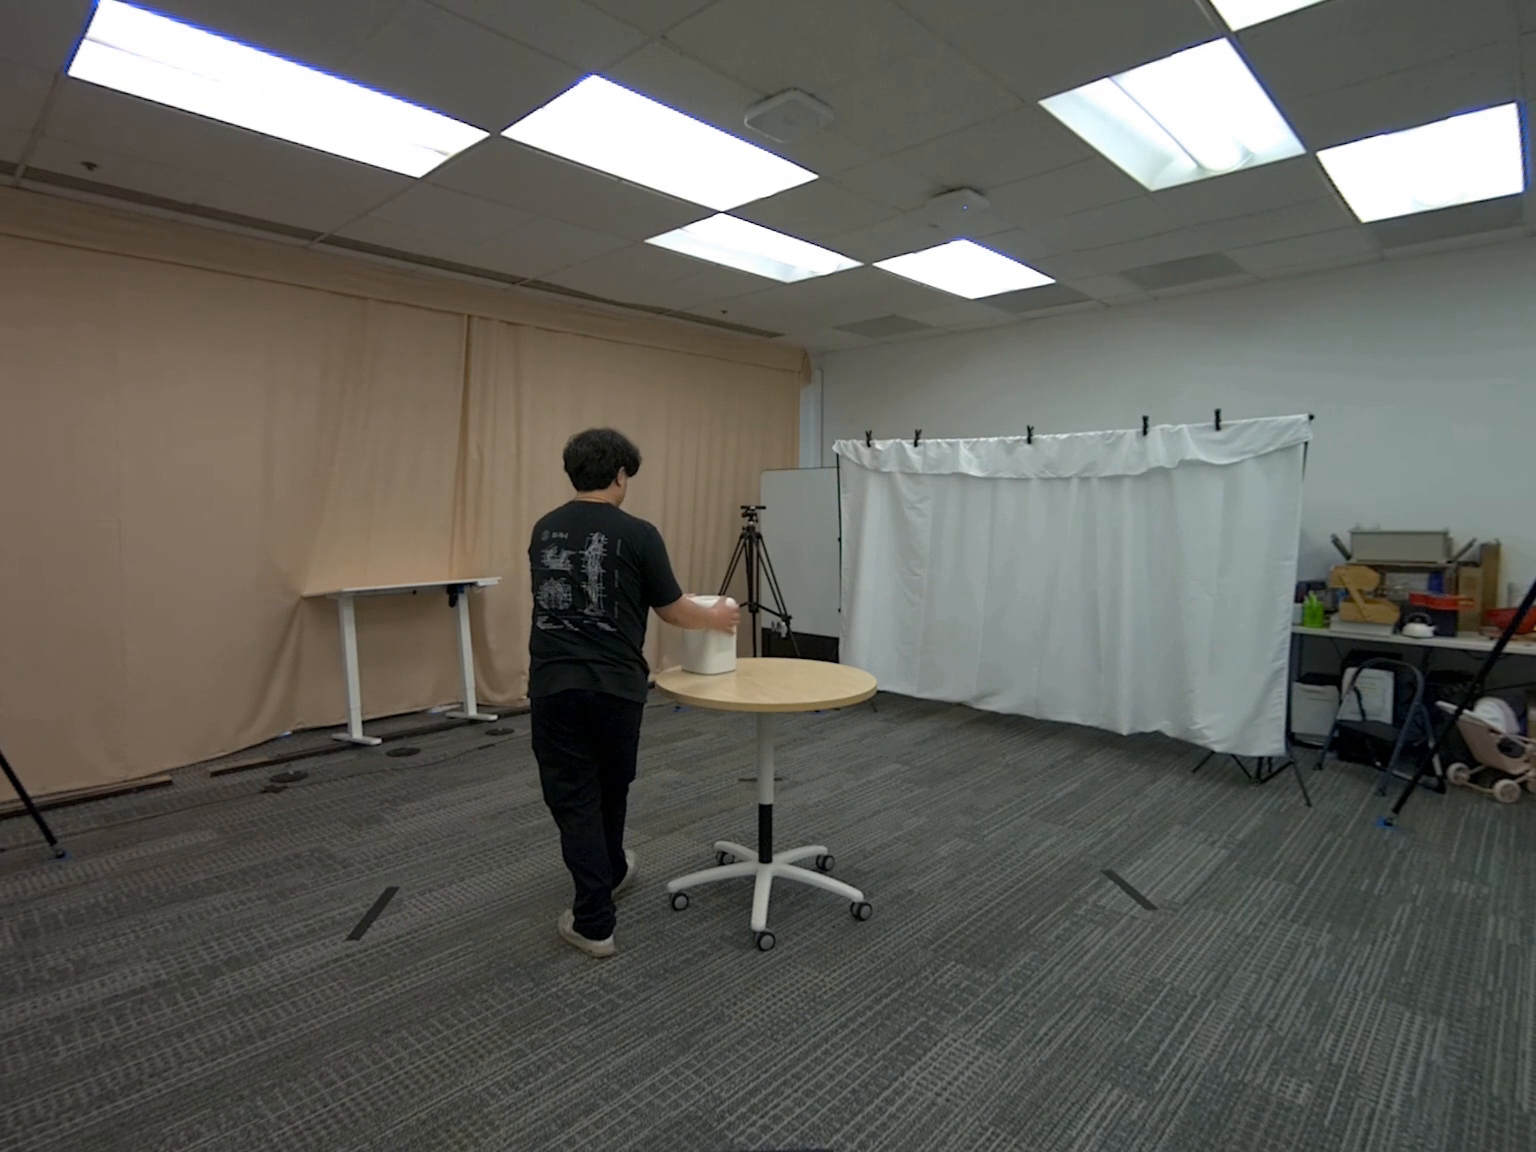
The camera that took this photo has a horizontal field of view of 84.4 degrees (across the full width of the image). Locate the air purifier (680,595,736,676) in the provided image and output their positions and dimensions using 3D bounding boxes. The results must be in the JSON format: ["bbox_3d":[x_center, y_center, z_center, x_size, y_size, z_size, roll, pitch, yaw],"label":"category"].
[{"bbox_3d":[-0.212,0.211,3.066,0.177,0.265,0.166,2,4,45],"label":"air purifier"}]
